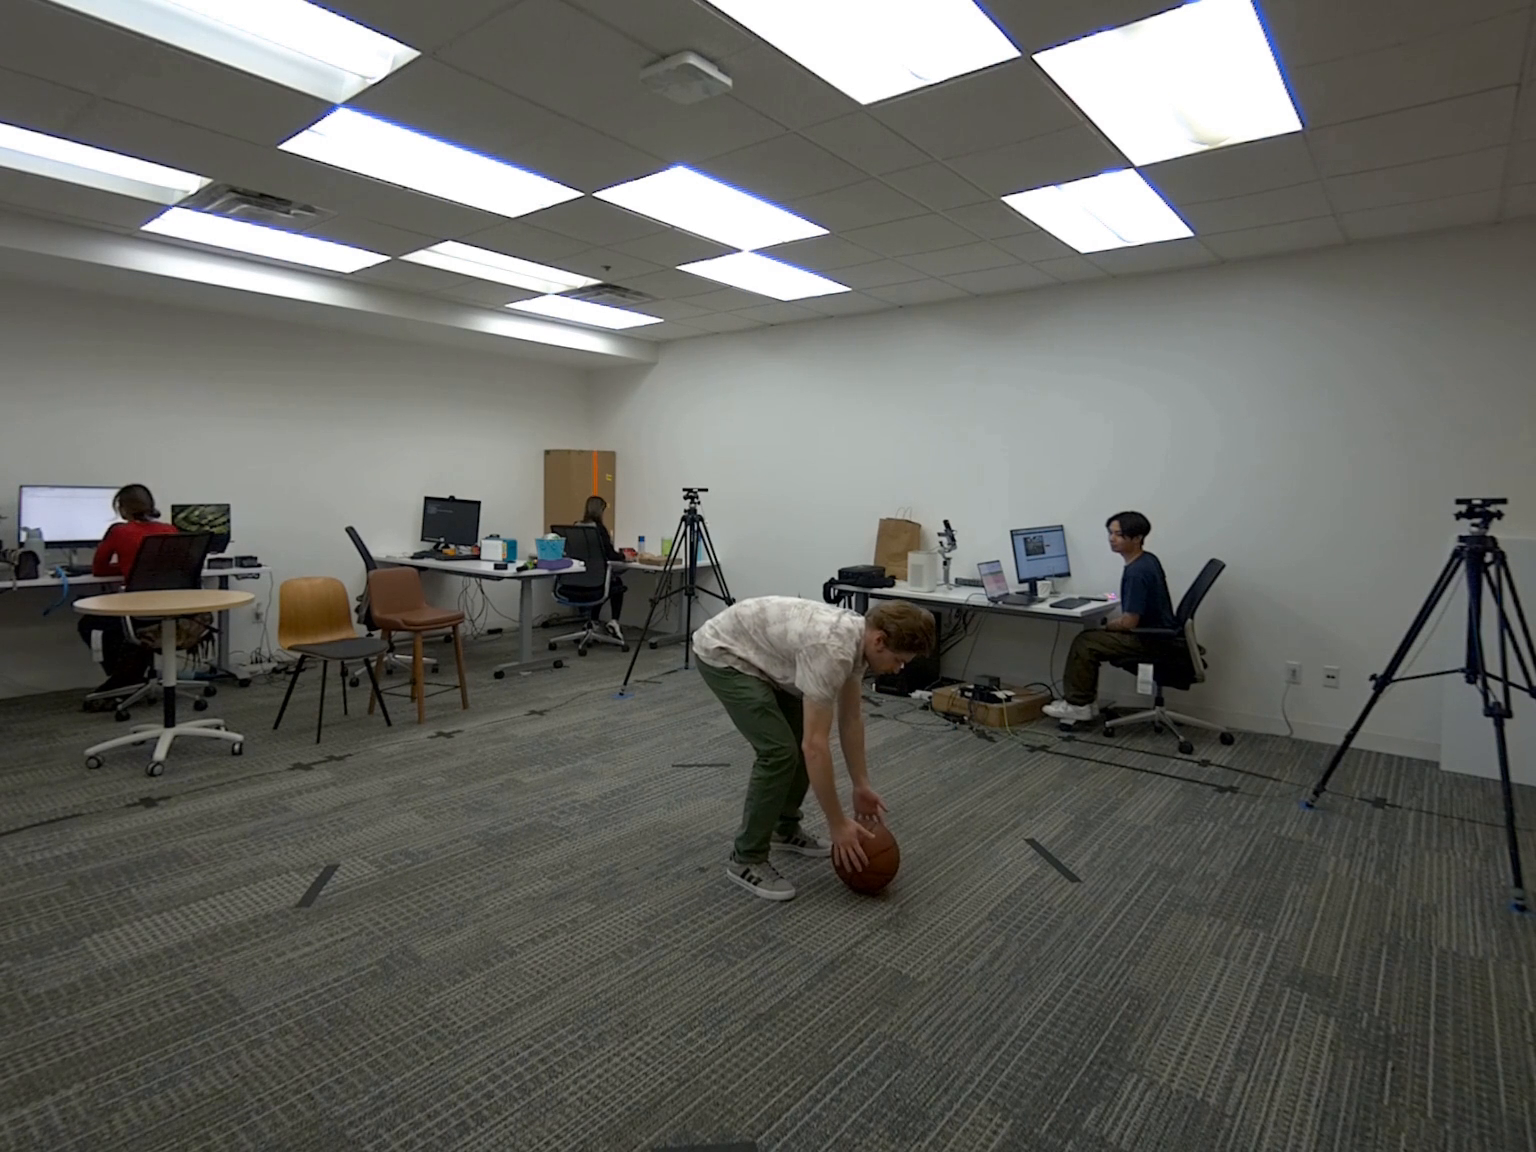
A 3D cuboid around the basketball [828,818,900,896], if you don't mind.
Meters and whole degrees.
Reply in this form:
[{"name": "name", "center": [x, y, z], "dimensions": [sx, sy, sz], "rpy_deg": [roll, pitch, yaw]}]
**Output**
[{"name": "basketball", "center": [0.335, 0.982, 2.984], "dimensions": [0.236, 0.235, 0.237], "rpy_deg": [1, 4, -2]}]
